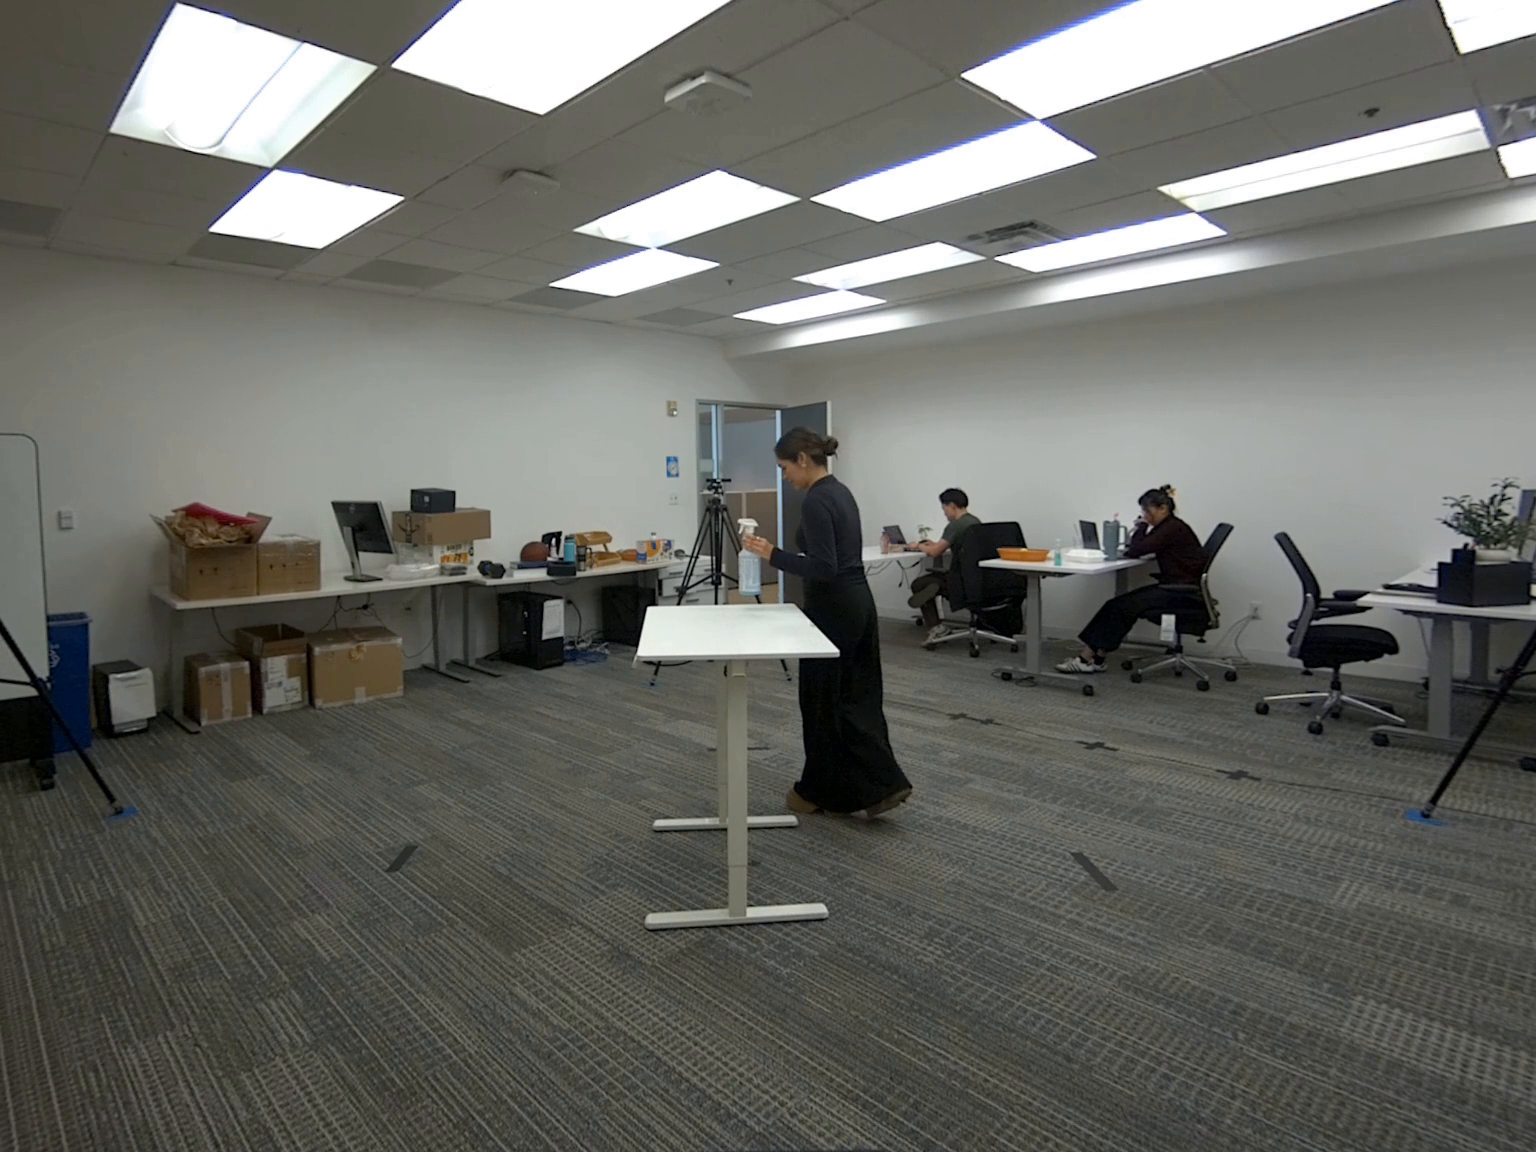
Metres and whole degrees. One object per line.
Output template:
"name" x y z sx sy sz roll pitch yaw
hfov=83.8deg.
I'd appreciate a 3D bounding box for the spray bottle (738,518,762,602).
"spray bottle" -0.066 -0.077 3.349 0.089 0.296 0.088 -2 6 -10
